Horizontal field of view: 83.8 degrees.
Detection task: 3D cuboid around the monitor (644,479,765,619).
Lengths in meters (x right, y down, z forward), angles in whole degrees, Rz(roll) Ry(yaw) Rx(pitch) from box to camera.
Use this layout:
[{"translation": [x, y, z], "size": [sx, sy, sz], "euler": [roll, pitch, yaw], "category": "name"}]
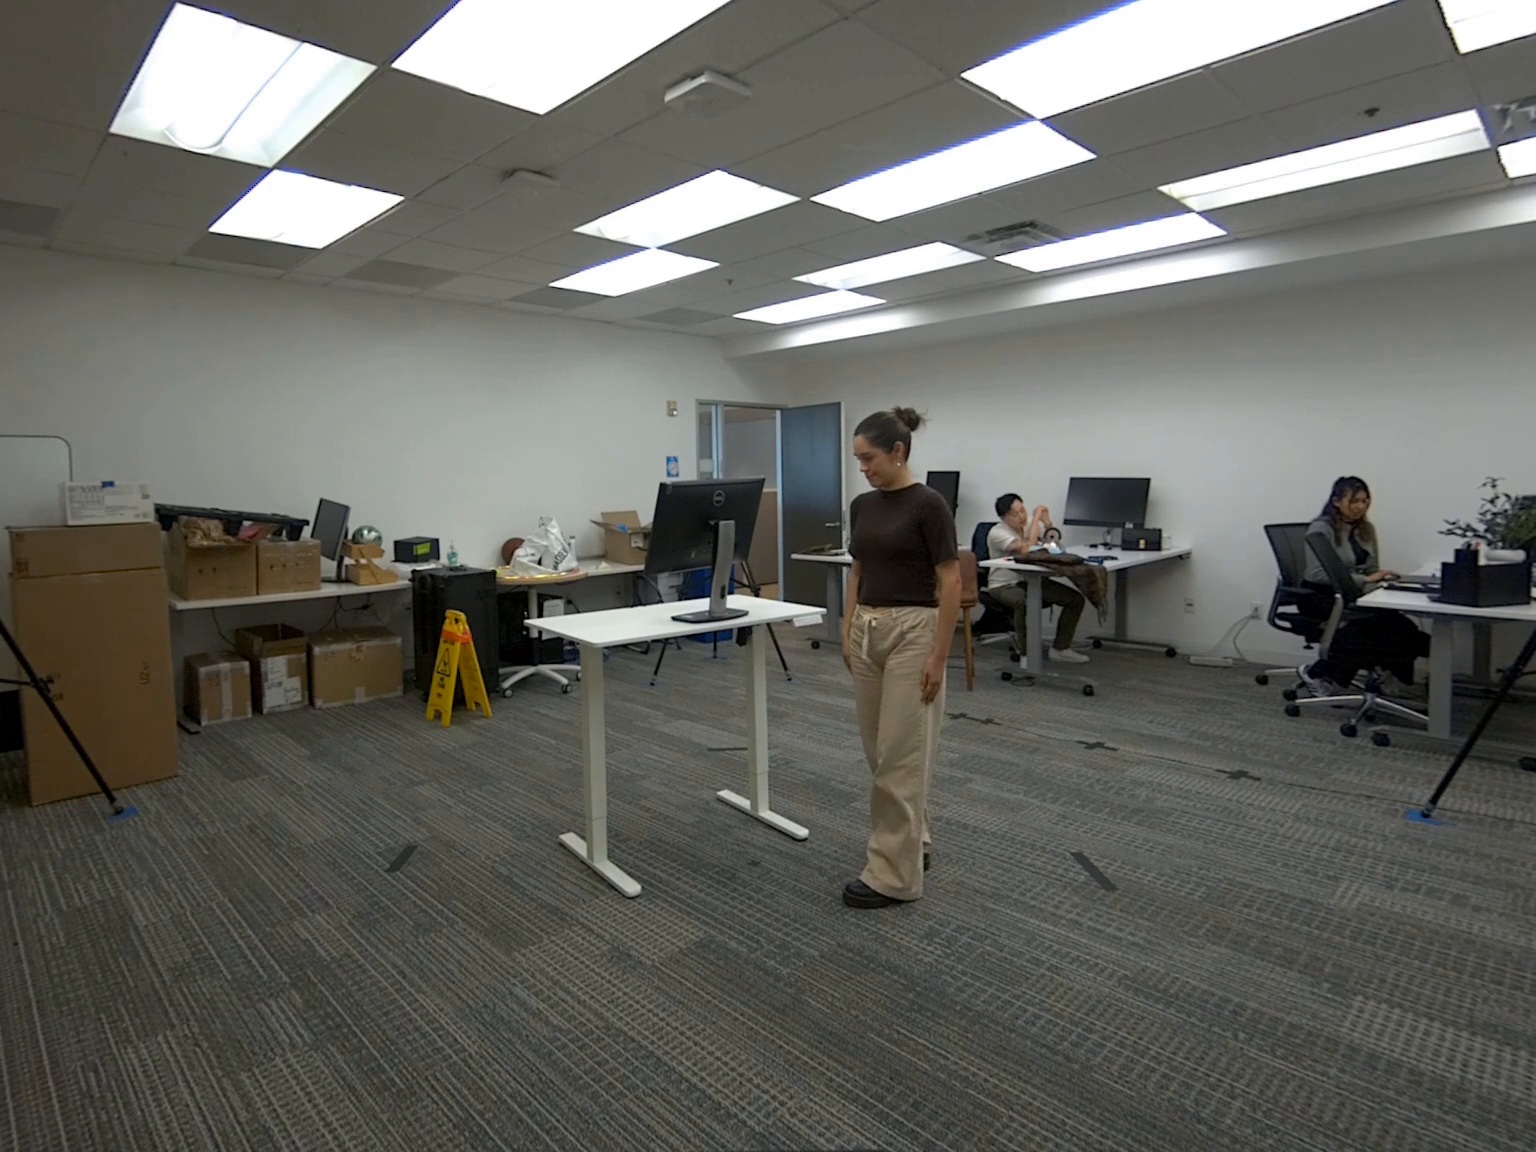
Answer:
[{"translation": [-0.206, -0.097, 3.169], "size": [0.193, 0.519, 0.526], "euler": [6, 10, 40], "category": "monitor"}]
